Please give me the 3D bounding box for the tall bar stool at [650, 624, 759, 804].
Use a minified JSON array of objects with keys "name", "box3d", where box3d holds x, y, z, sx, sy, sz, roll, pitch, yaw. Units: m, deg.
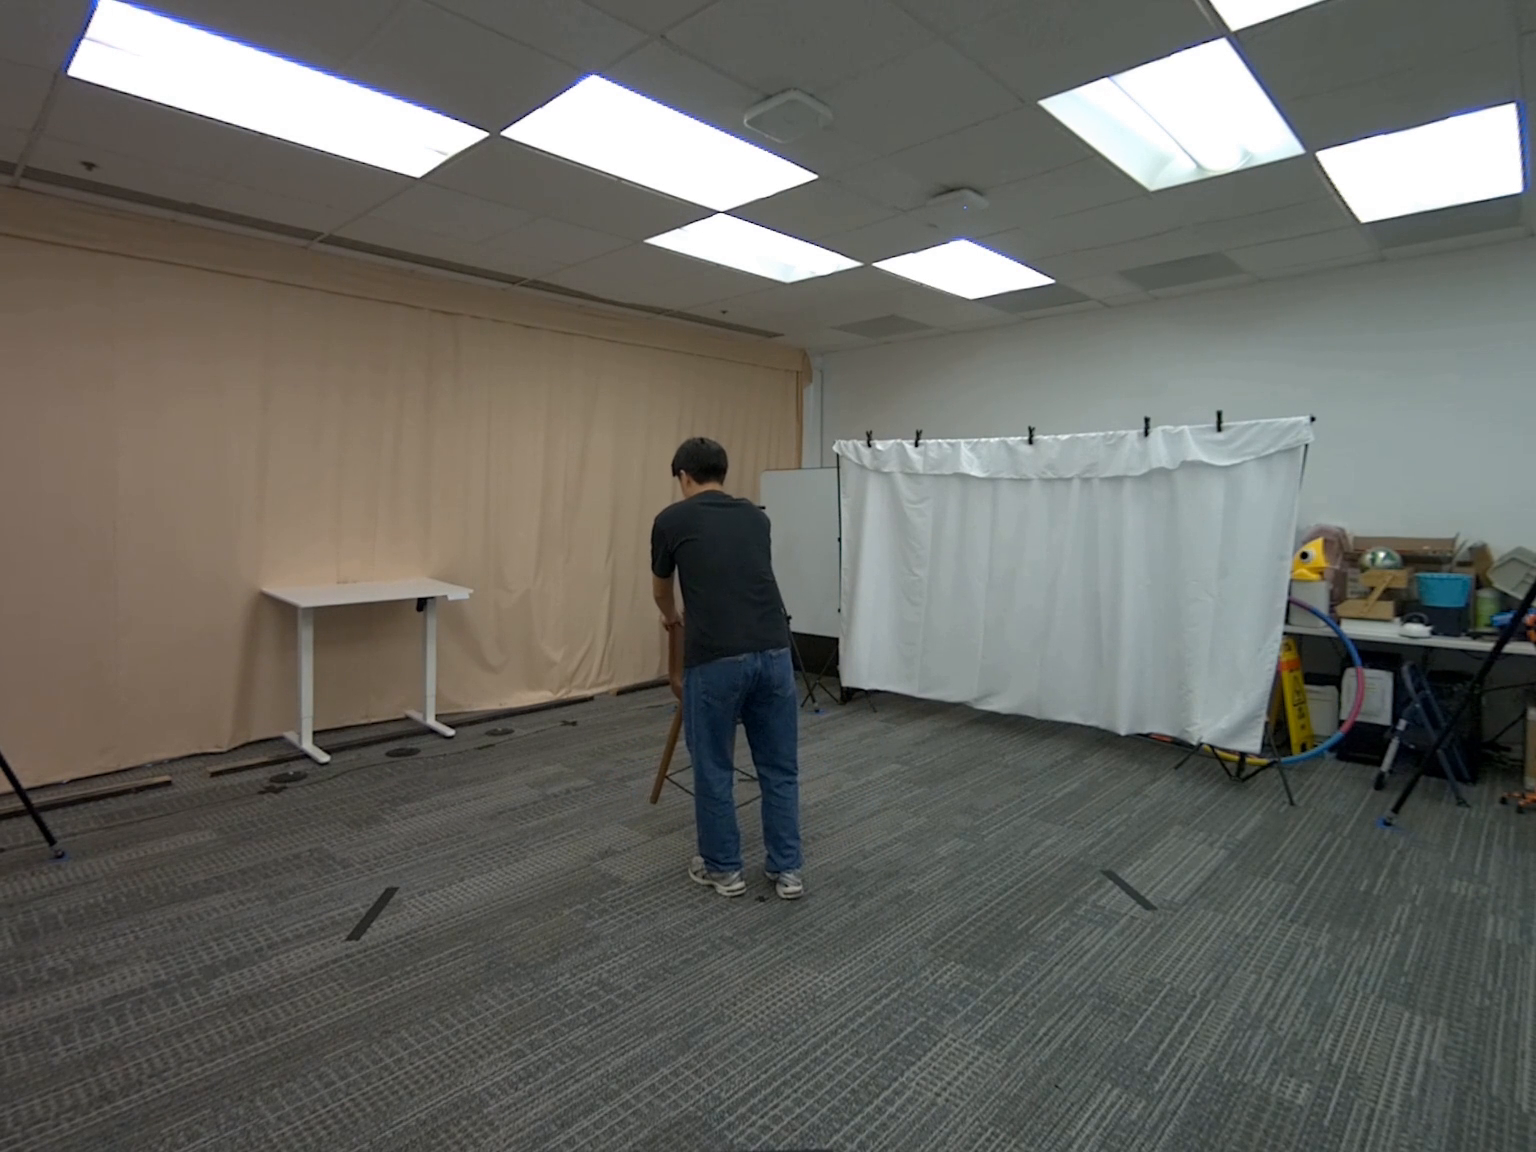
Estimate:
[{"name":"tall bar stool","box3d":[-0.181,0.609,3.581,0.484,0.884,0.443,16,16,39]}]
